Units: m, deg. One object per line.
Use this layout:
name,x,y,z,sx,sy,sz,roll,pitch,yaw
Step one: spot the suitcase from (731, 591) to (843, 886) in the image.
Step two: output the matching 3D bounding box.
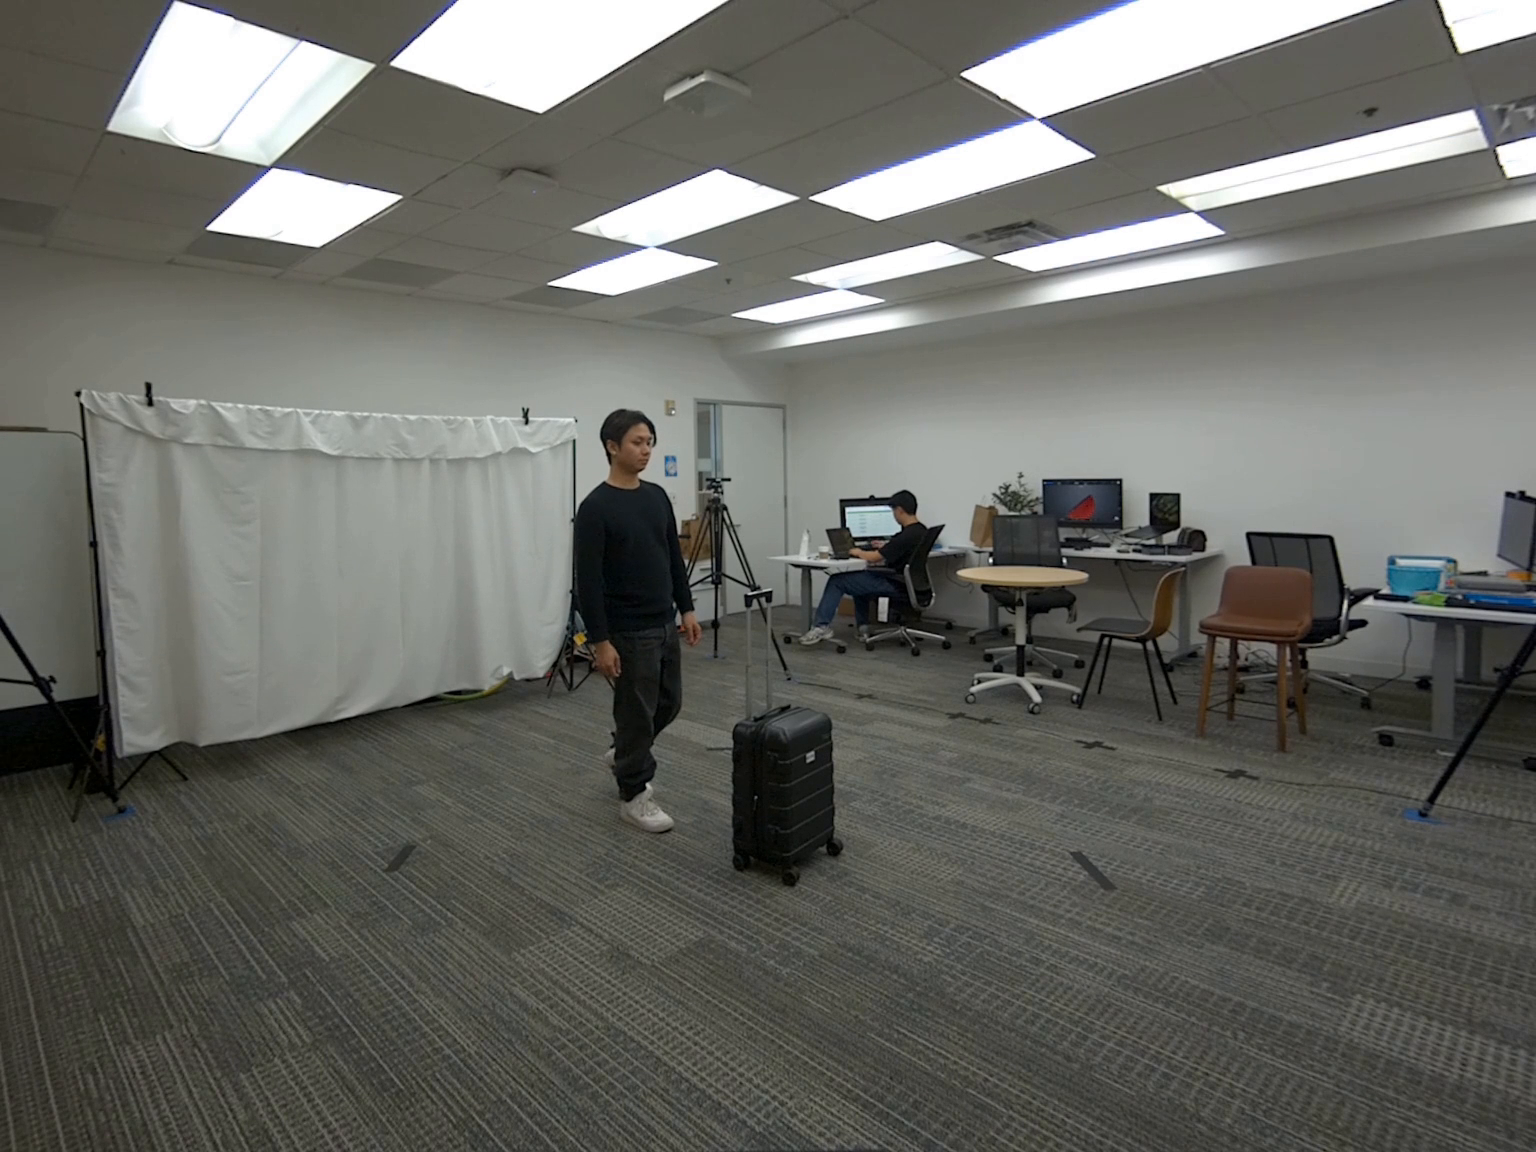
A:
suitcase,0.065,0.561,3.089,0.265,0.974,0.374,4,6,36
